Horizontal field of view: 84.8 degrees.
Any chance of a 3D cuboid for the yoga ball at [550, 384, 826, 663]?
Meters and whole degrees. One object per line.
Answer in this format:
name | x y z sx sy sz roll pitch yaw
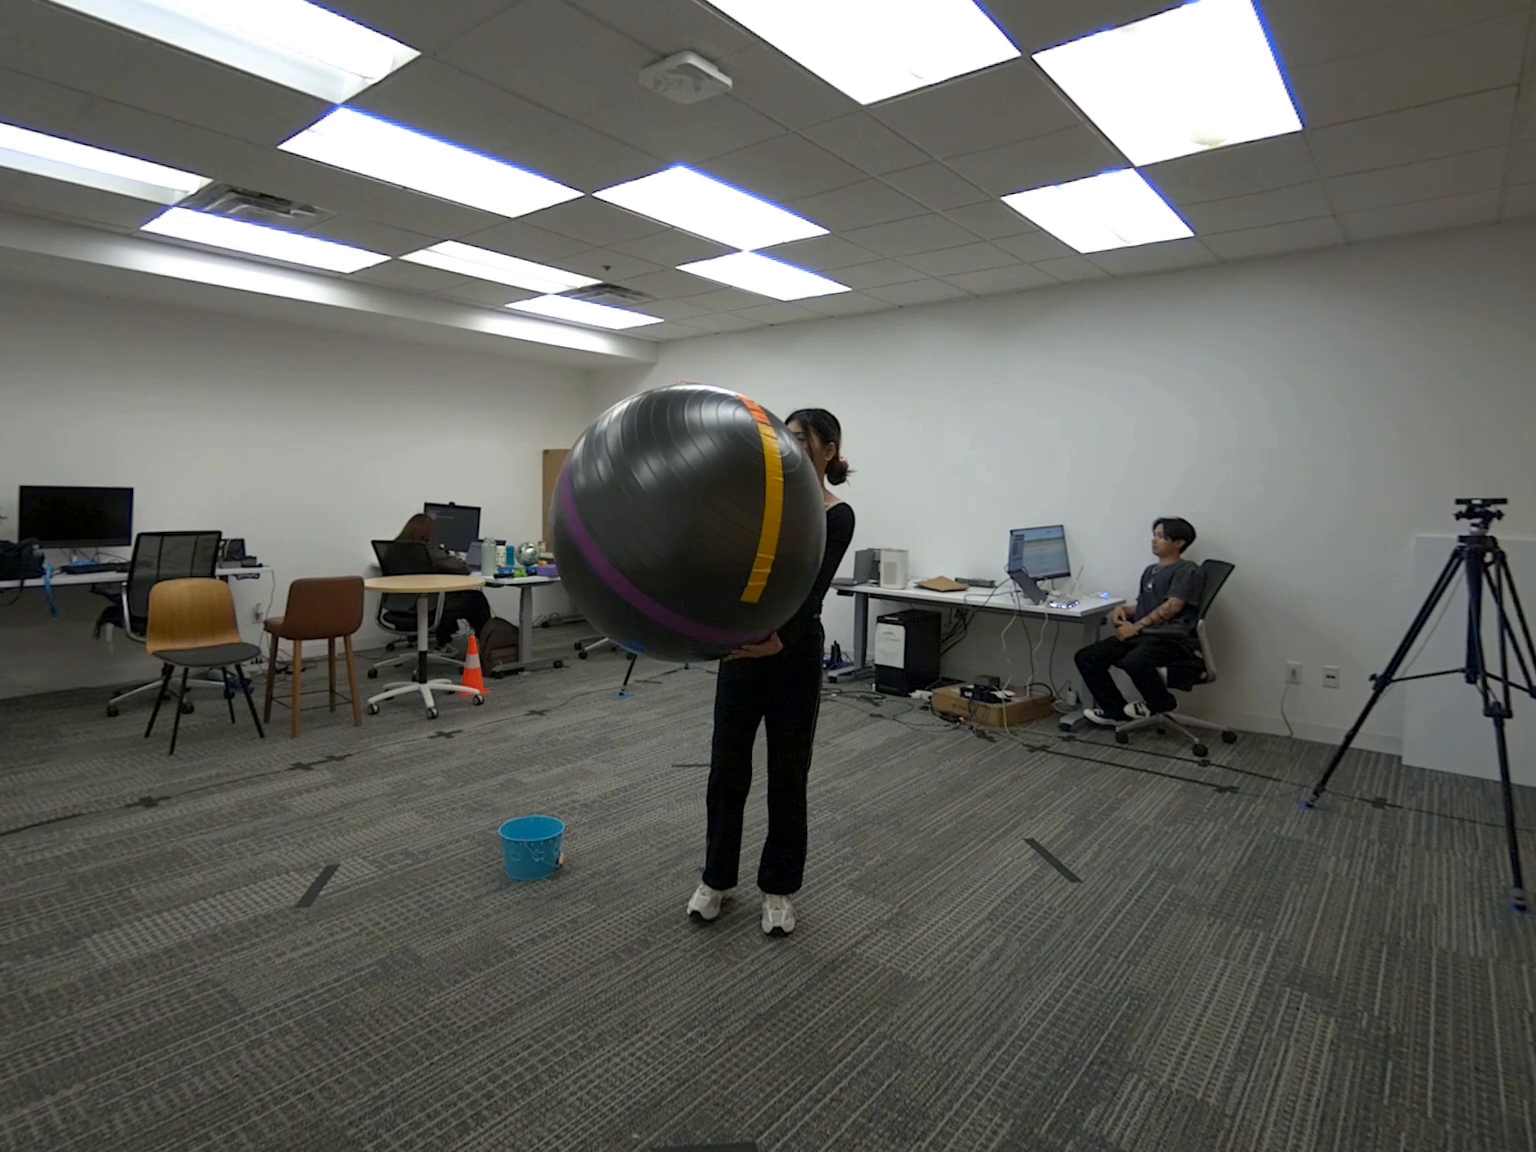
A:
yoga ball | -0.219 -0.138 2.328 0.757 0.755 0.762 1 4 -2
